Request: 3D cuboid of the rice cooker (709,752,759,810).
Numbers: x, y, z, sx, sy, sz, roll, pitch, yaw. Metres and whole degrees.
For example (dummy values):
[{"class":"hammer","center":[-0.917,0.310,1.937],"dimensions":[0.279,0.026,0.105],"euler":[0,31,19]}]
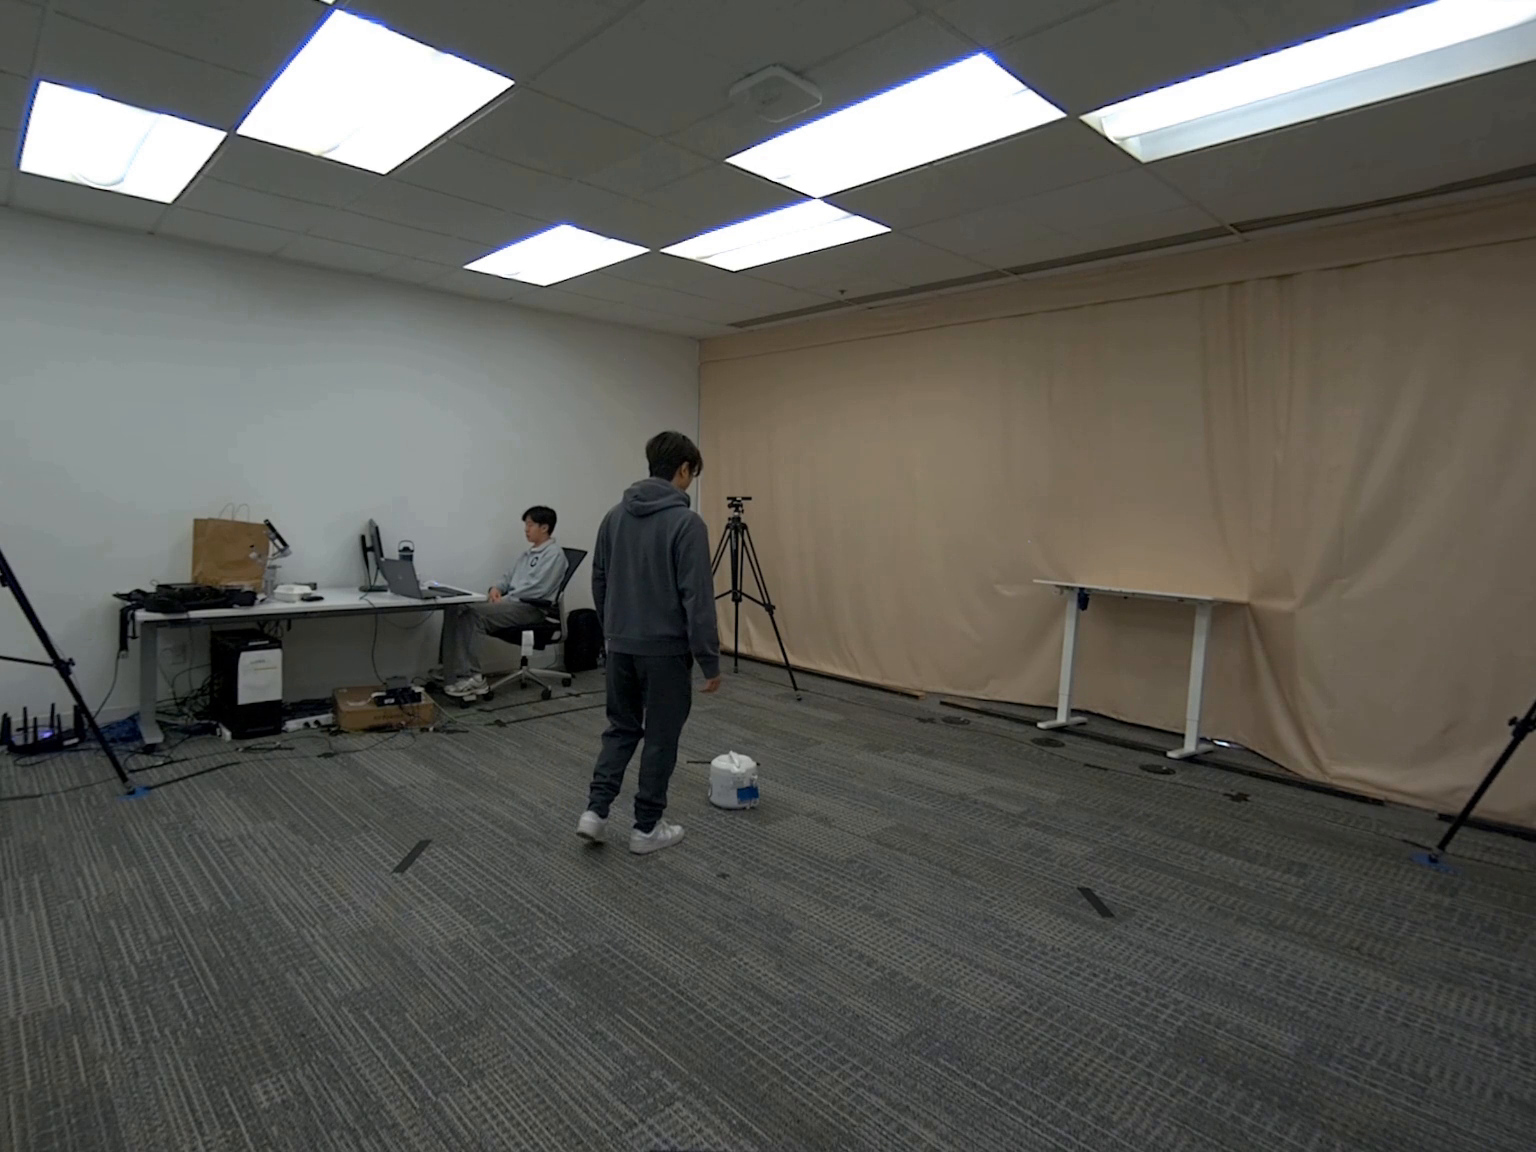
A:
[{"class":"rice cooker","center":[-0.172,0.925,3.849],"dimensions":[0.215,0.232,0.223],"euler":[2,4,-13]}]
